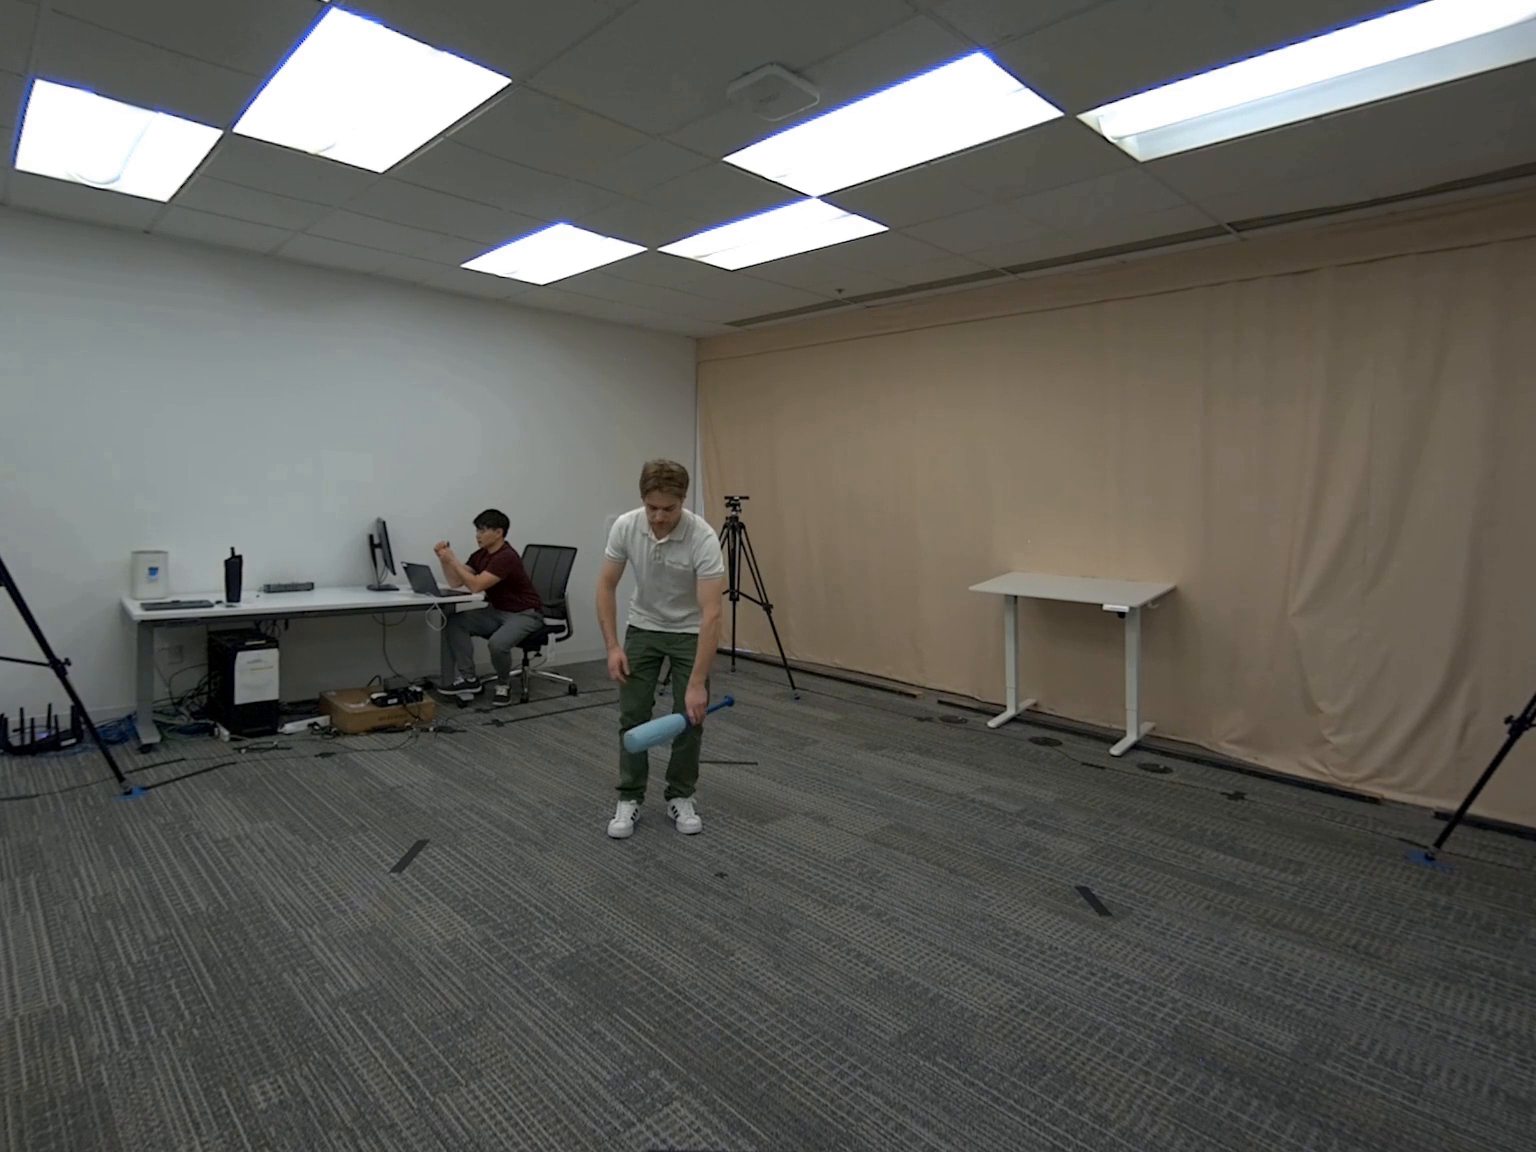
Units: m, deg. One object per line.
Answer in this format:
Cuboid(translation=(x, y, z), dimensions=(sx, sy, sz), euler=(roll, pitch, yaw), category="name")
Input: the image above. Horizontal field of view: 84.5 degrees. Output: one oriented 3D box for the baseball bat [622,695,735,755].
Cuboid(translation=(-0.322, 0.558, 3.196), dimensions=(0.091, 0.088, 0.533), euler=(5, 13, 39), category="baseball bat")
